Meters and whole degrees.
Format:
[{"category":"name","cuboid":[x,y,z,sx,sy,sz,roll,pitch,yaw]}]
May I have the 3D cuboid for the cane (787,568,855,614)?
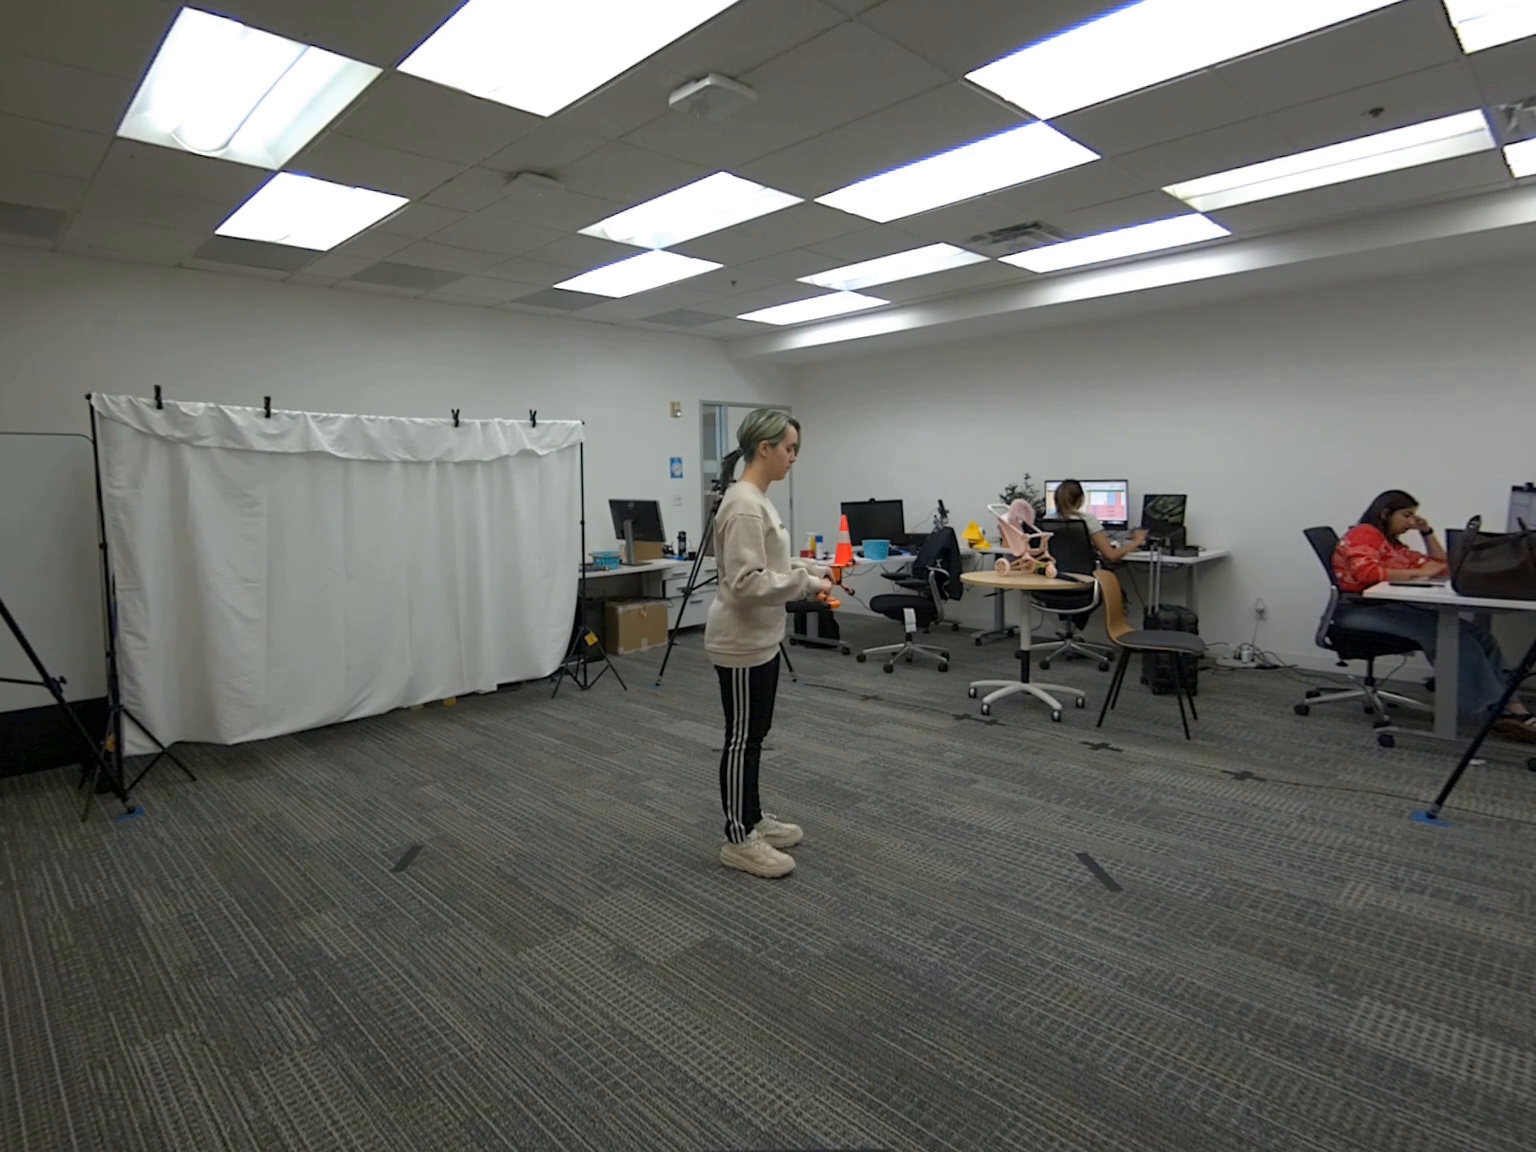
[{"category":"cane","cuboid":[0.215,0.053,3.003,0.208,0.151,0.905,2,6,6]}]
